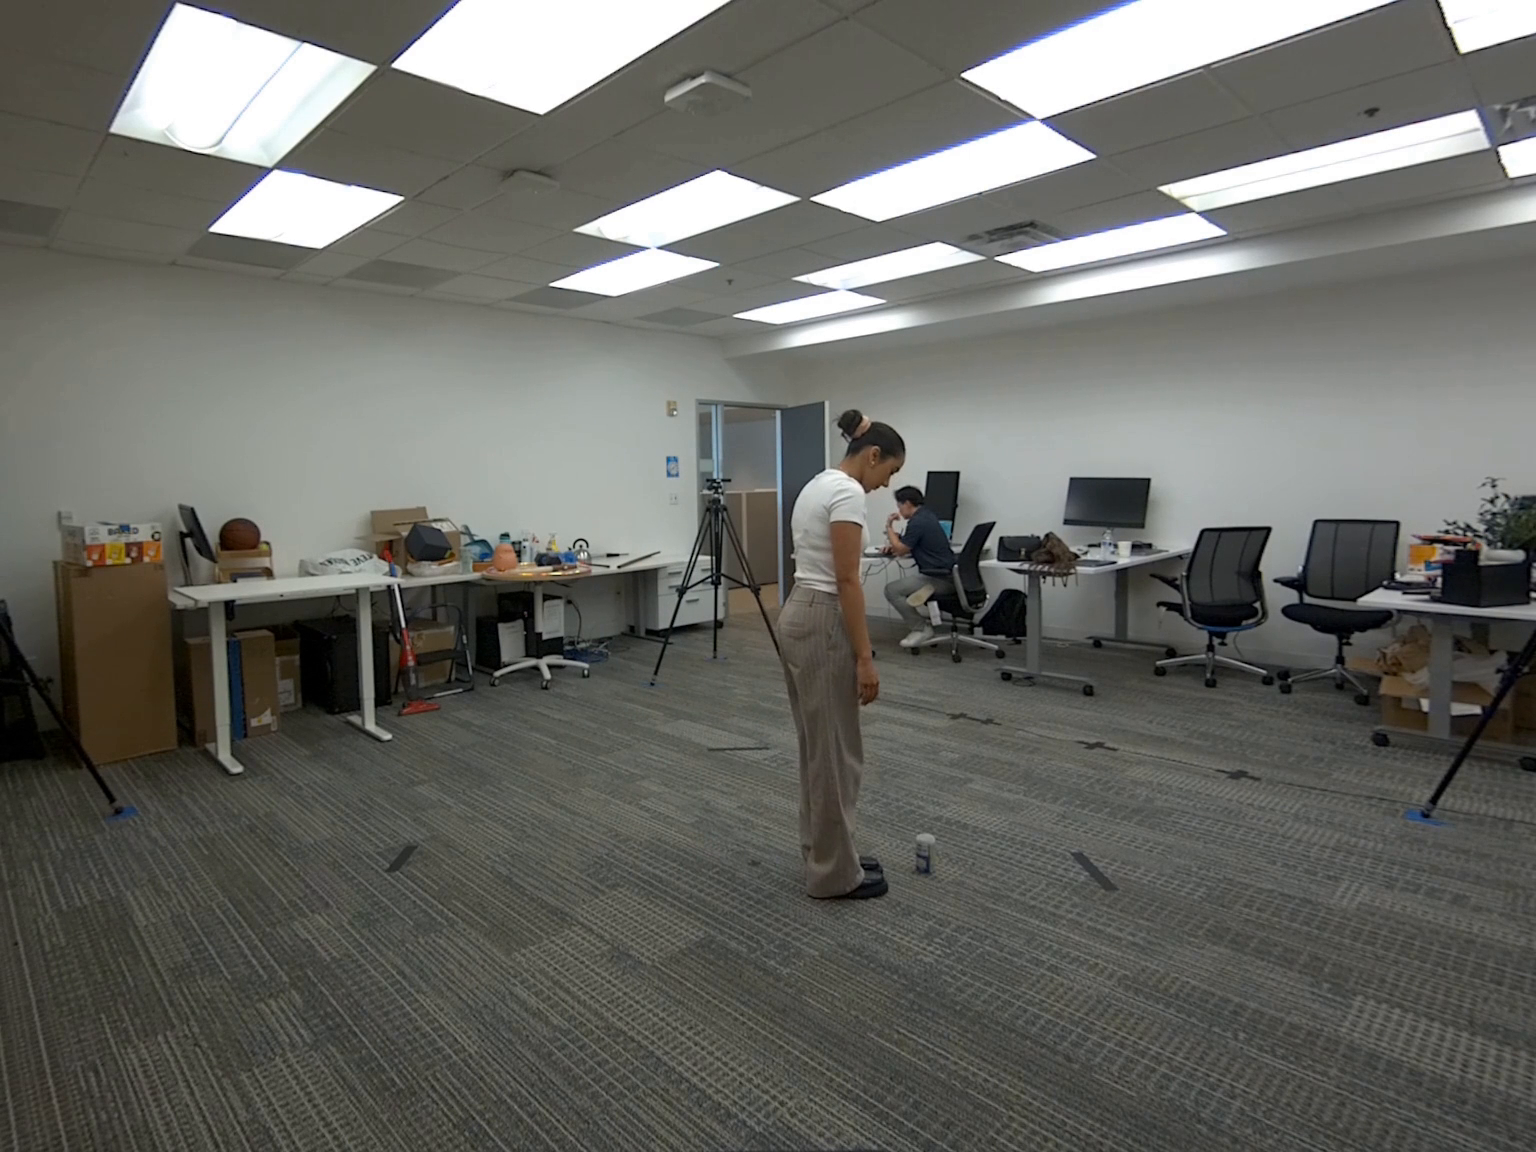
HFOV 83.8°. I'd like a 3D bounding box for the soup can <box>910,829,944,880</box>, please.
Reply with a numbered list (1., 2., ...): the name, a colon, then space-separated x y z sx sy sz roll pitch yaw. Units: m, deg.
1. soup can: 0.543 0.980 3.015 0.067 0.121 0.067 5 3 -2
